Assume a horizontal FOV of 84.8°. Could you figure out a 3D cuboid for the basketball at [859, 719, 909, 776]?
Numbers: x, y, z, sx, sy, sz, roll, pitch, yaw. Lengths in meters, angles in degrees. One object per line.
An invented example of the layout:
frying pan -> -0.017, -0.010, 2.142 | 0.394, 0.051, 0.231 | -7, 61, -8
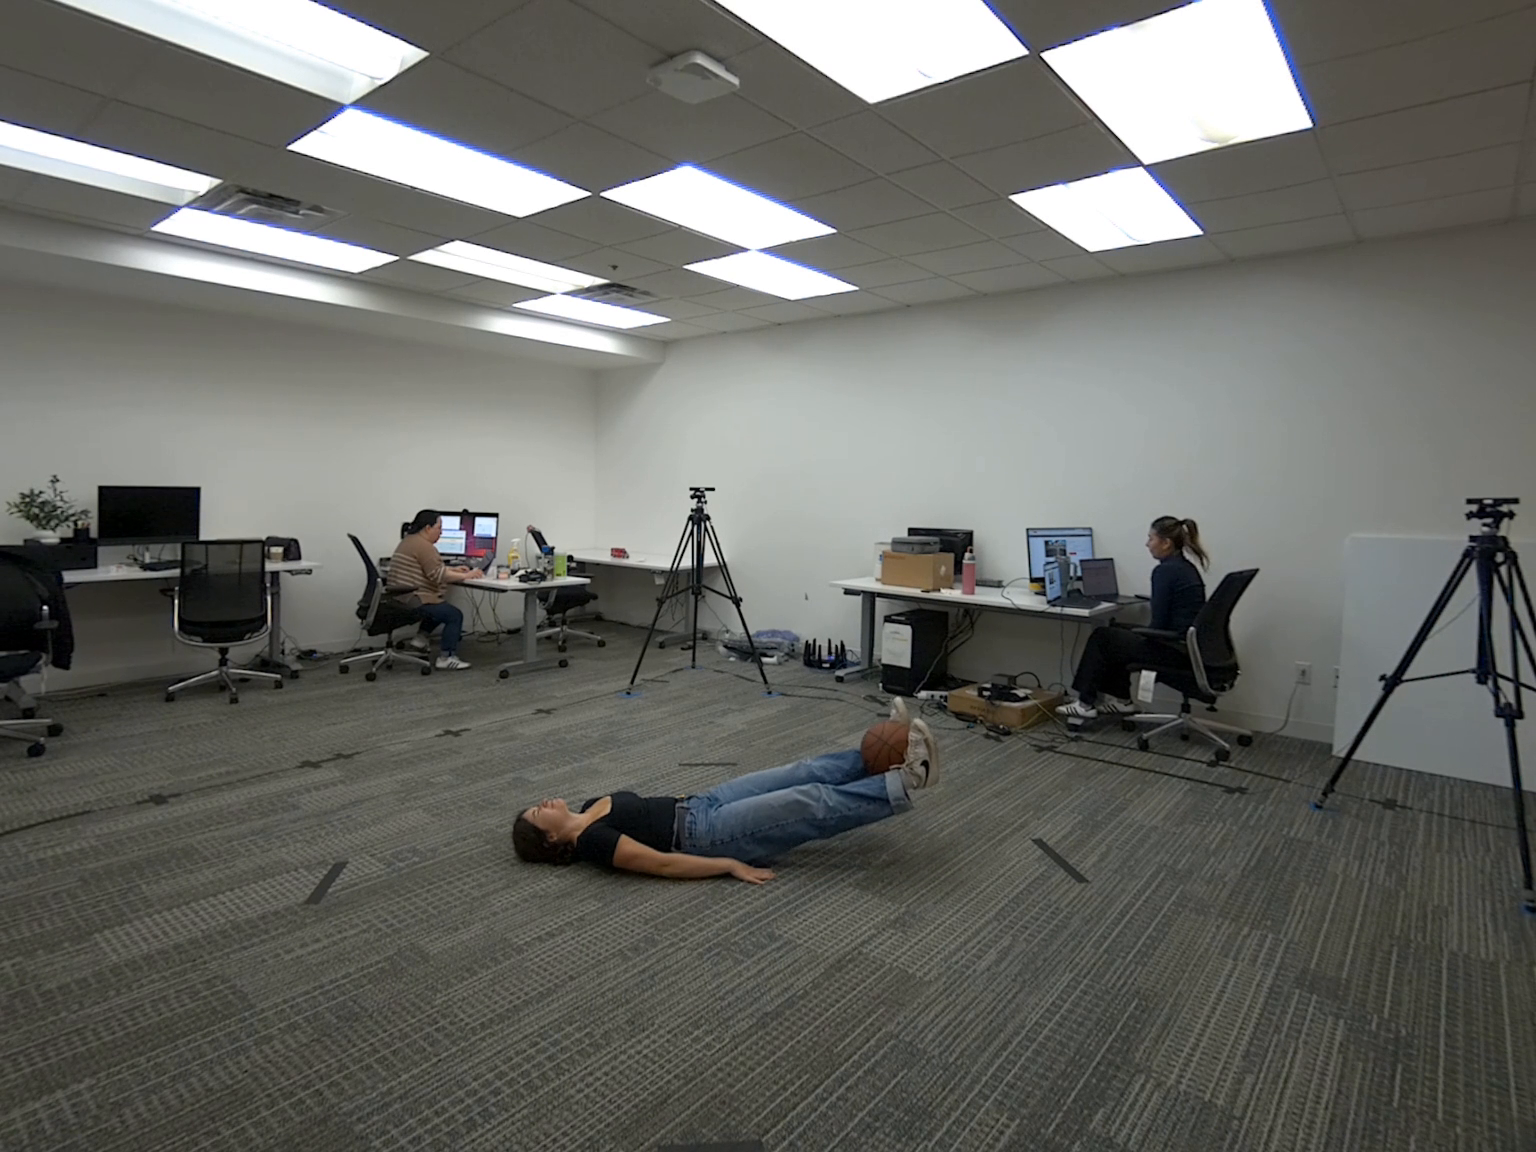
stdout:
basketball -> 0.473, 0.679, 3.311 | 0.235, 0.235, 0.237 | 1, 4, -2
